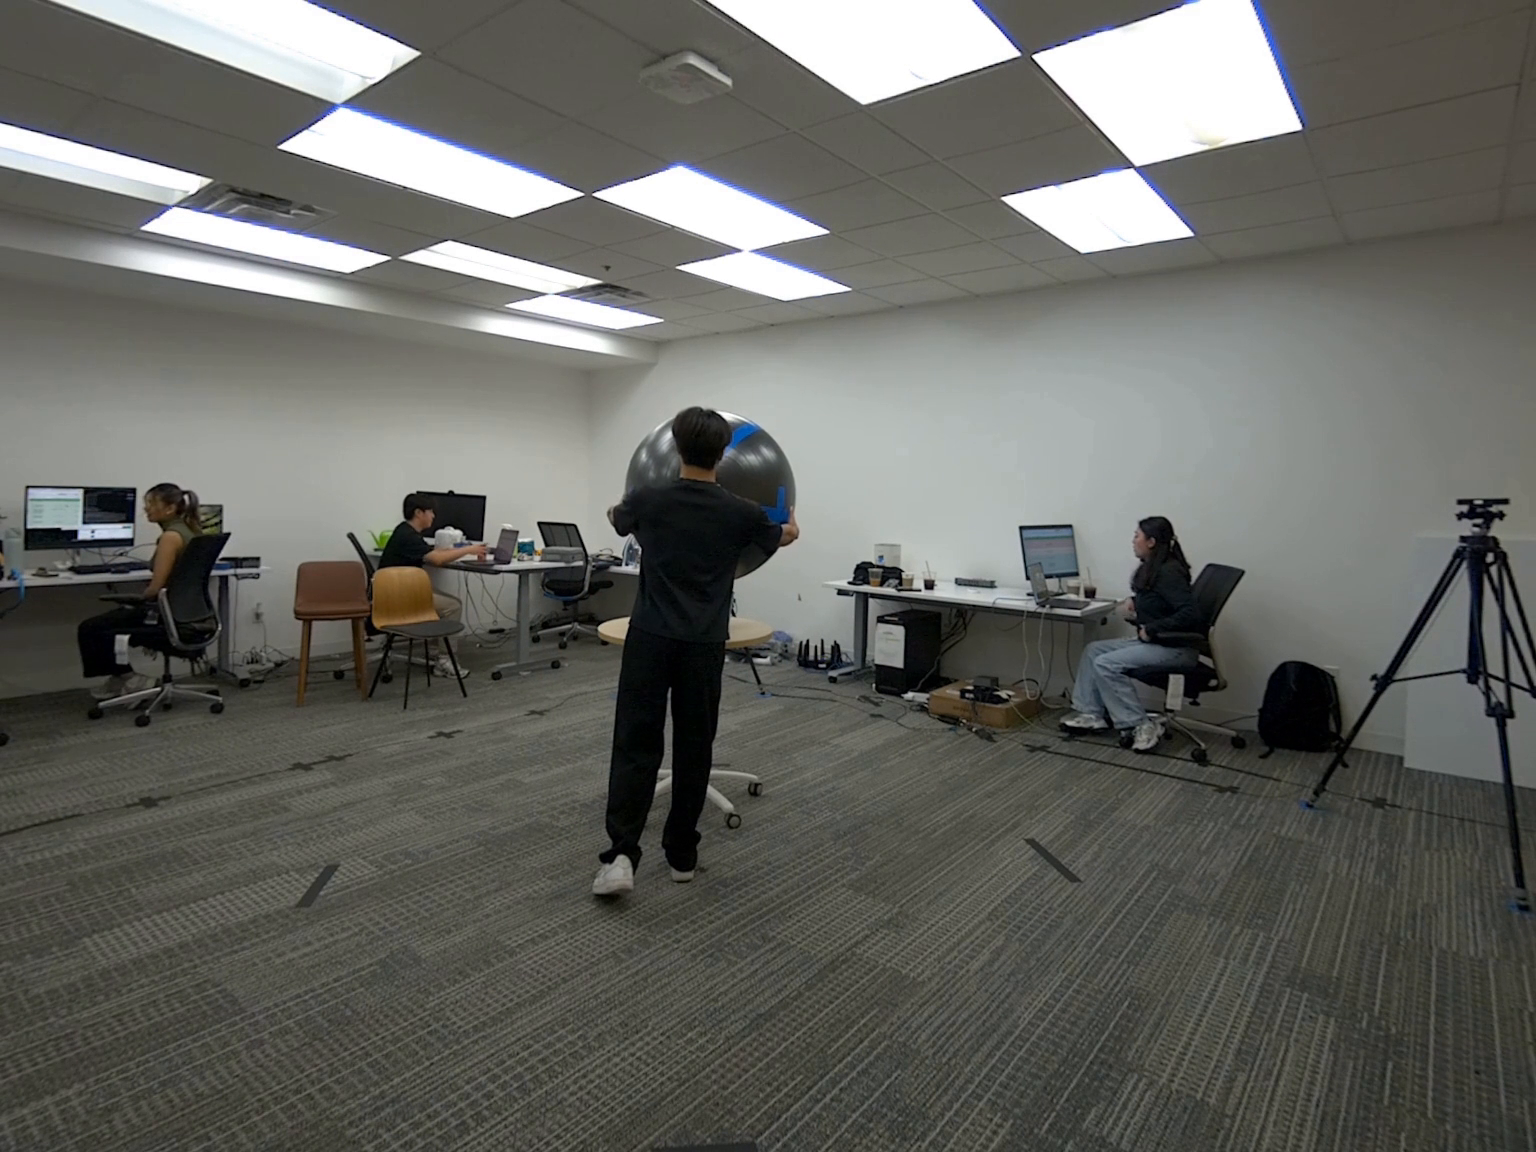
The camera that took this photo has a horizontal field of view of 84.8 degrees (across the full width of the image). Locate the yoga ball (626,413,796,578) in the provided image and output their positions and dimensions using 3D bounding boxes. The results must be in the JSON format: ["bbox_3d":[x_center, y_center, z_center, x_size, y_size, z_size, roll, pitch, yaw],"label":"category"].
[{"bbox_3d":[-0.268,-0.359,3.761,0.757,0.755,0.762,1,4,-2],"label":"yoga ball"}]
